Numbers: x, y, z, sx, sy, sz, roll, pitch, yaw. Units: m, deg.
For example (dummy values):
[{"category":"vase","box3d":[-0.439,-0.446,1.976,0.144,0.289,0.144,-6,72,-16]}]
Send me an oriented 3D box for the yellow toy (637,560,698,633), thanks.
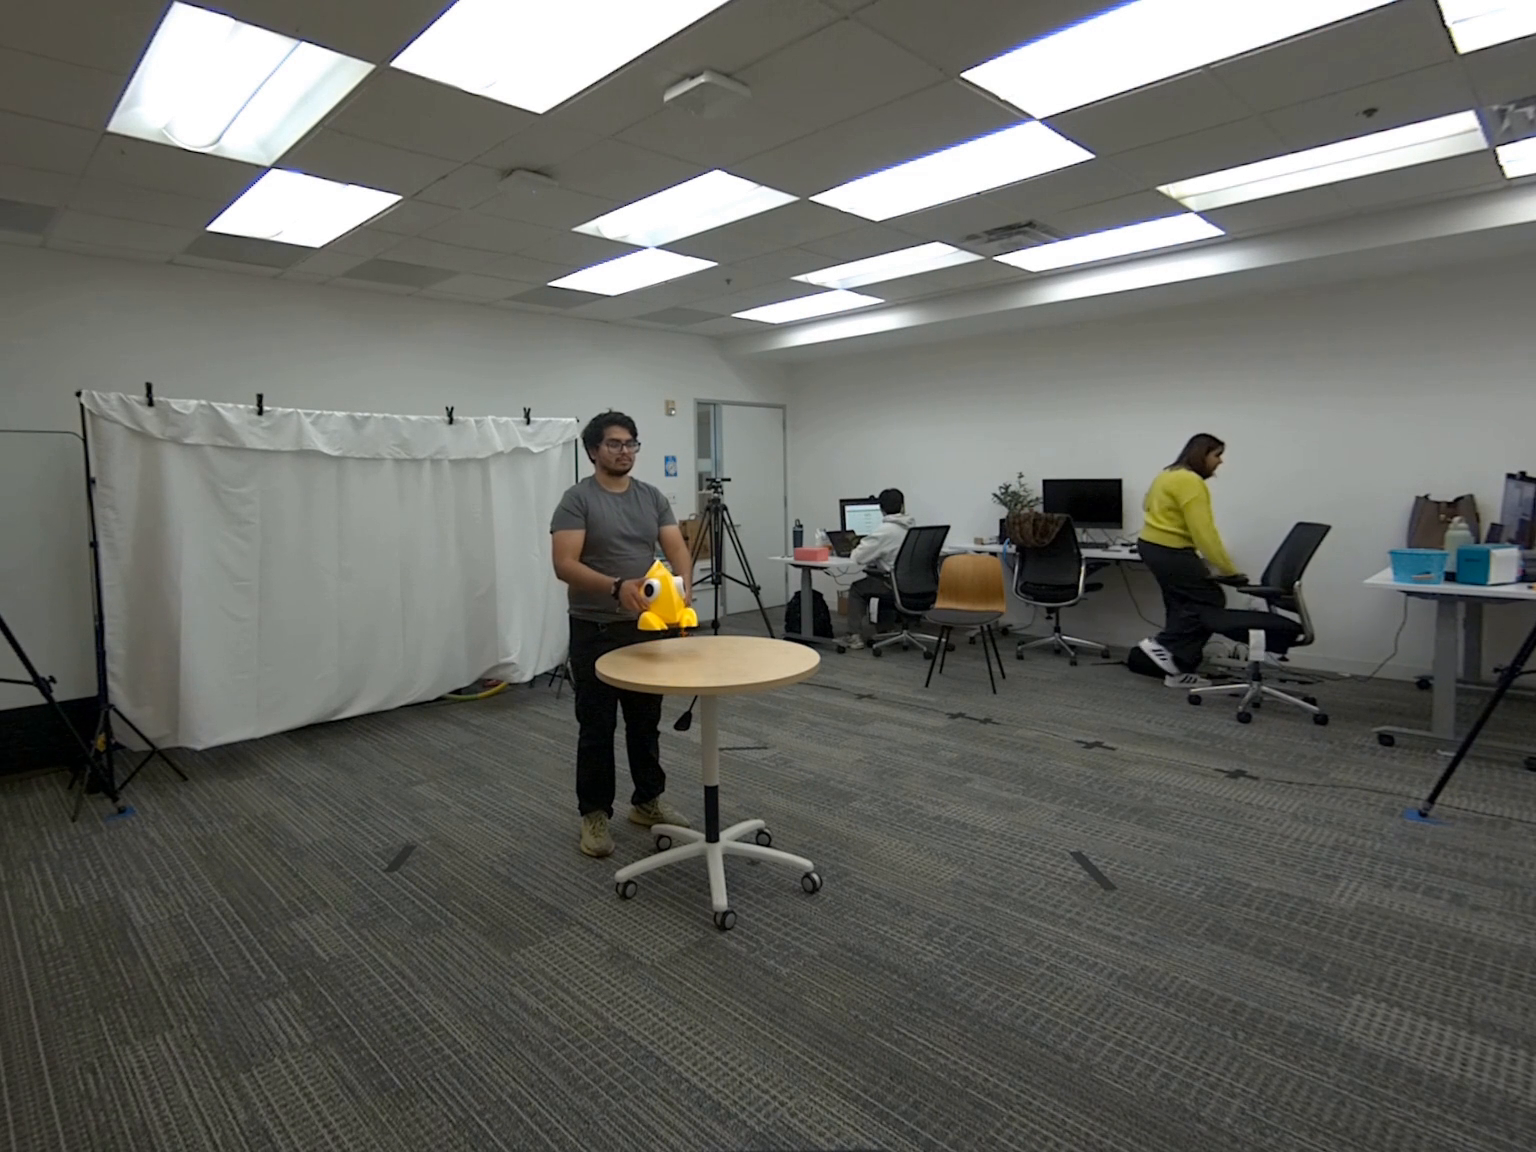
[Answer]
[{"category":"yellow toy","box3d":[-0.345,0.061,2.937,0.201,0.230,0.197,-4,2,-25]}]
